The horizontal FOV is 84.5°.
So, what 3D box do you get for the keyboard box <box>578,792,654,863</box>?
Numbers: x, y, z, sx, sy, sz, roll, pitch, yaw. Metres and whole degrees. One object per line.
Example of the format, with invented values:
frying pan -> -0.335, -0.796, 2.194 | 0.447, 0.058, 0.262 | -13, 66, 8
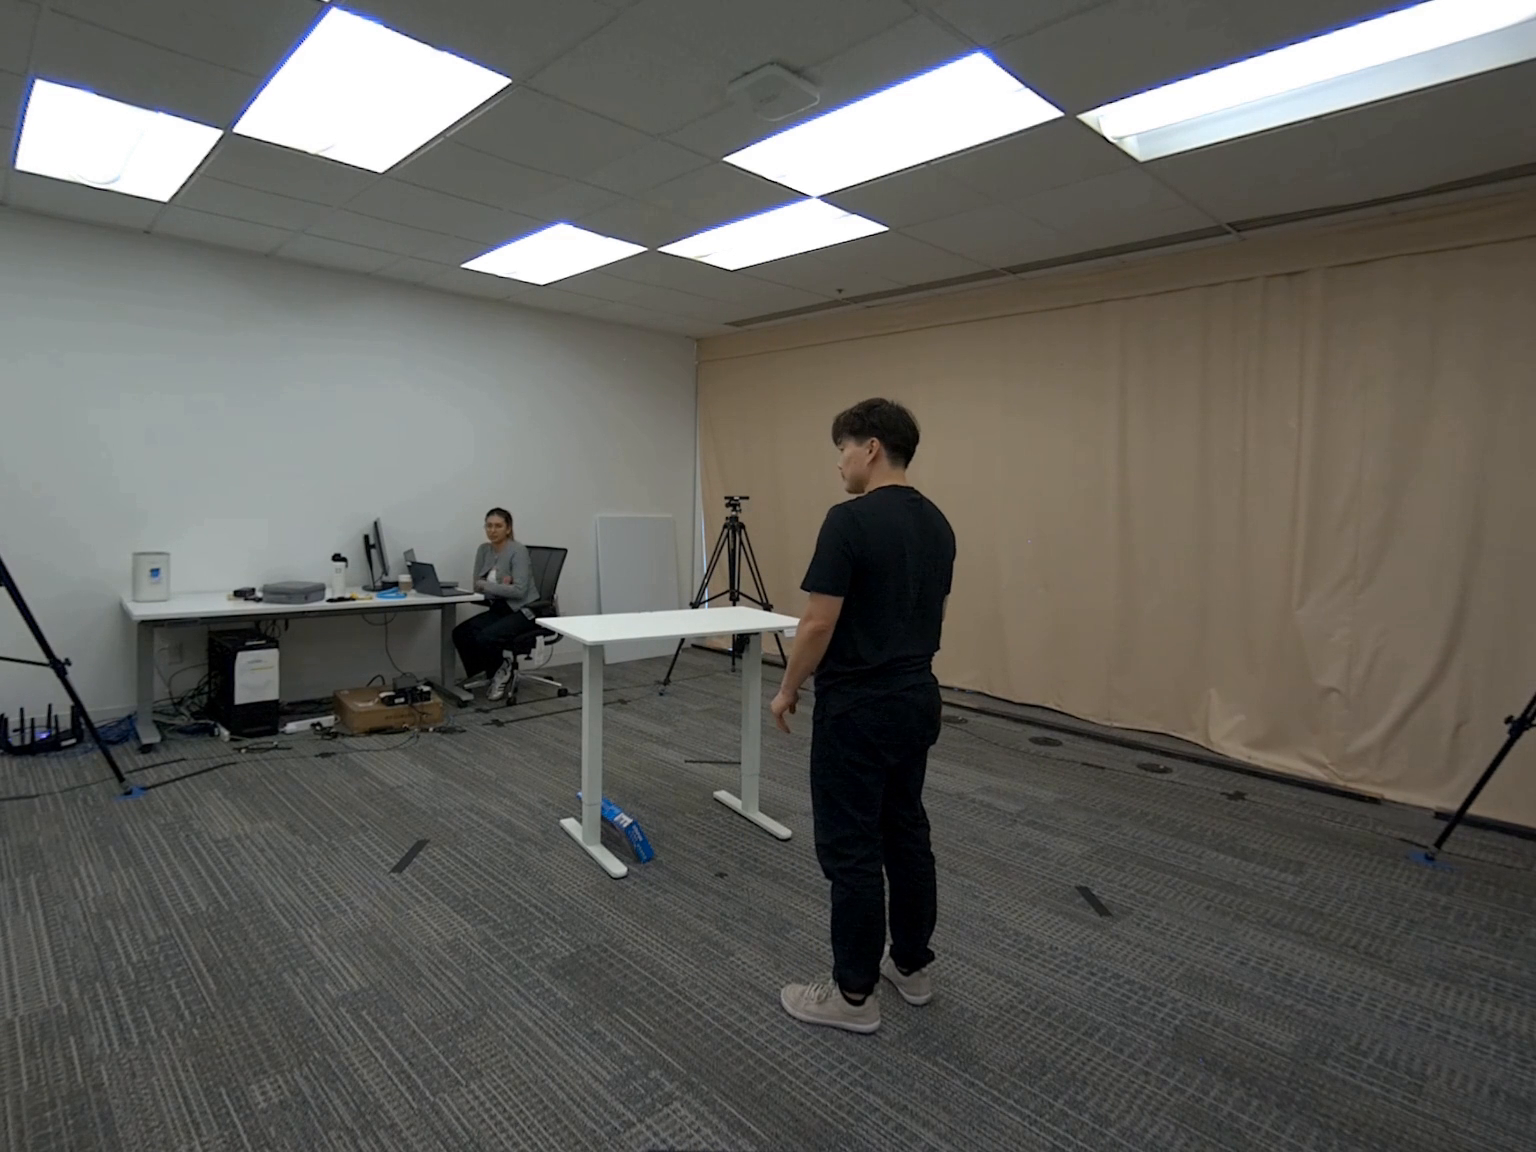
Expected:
keyboard box -> -0.621, 0.988, 3.350 | 0.059, 0.173, 0.447 | -32, 22, -29
